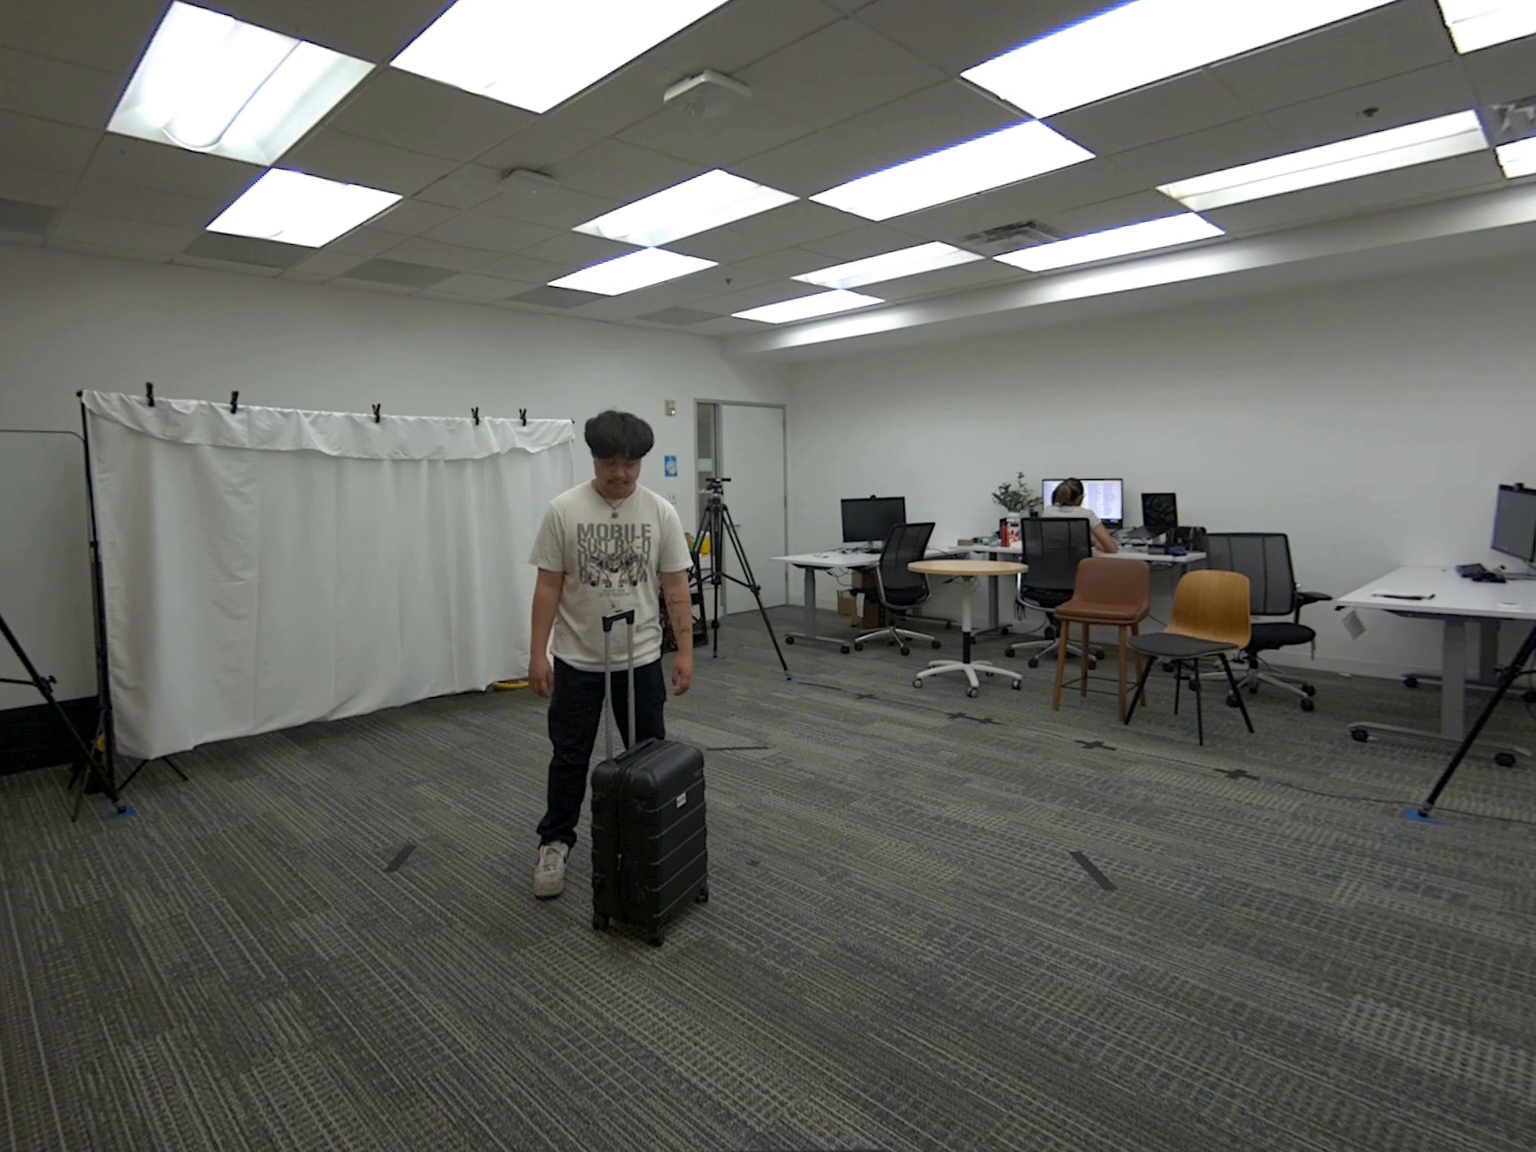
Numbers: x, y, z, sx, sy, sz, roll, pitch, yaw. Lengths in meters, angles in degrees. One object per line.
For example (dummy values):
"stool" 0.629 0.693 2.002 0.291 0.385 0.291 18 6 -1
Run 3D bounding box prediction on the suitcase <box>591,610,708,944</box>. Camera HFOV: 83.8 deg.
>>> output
"suitcase" -0.359 0.619 2.692 0.263 0.973 0.377 4 7 26
